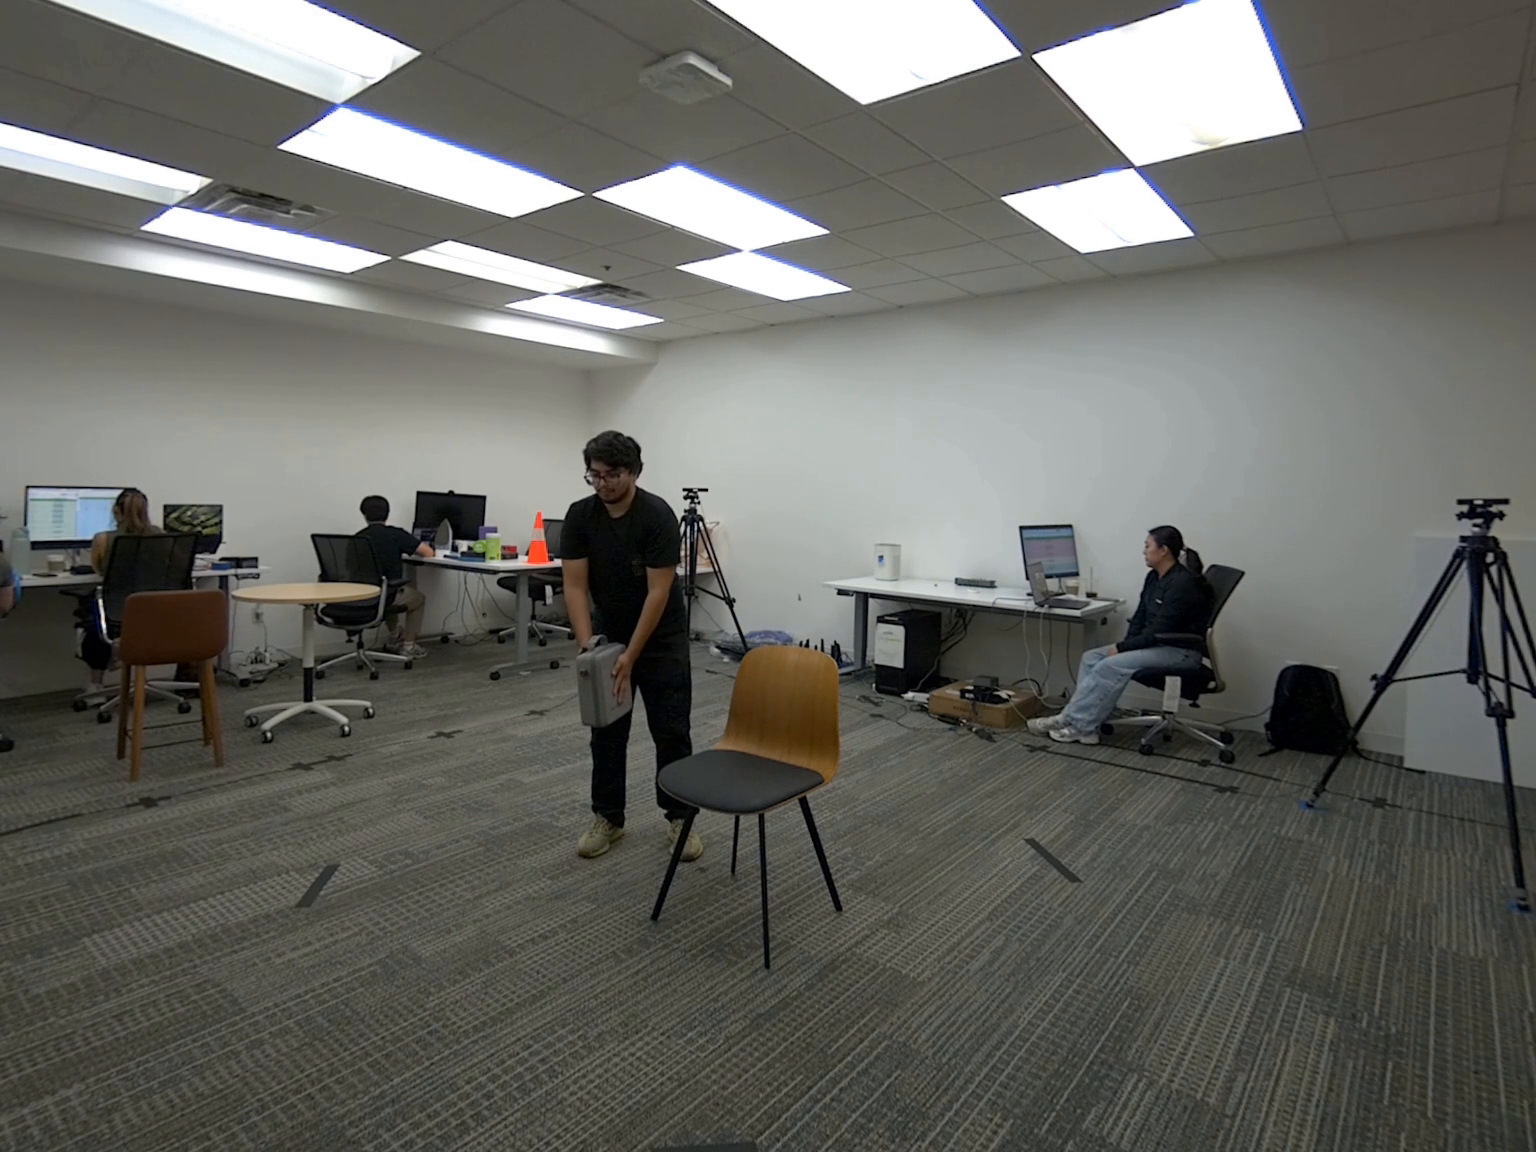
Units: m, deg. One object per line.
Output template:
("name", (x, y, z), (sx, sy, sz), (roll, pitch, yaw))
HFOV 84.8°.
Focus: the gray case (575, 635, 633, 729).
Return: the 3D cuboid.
("gray case", (-0.589, 0.373, 2.978), (0.105, 0.260, 0.255), (-7, 3, 10))
